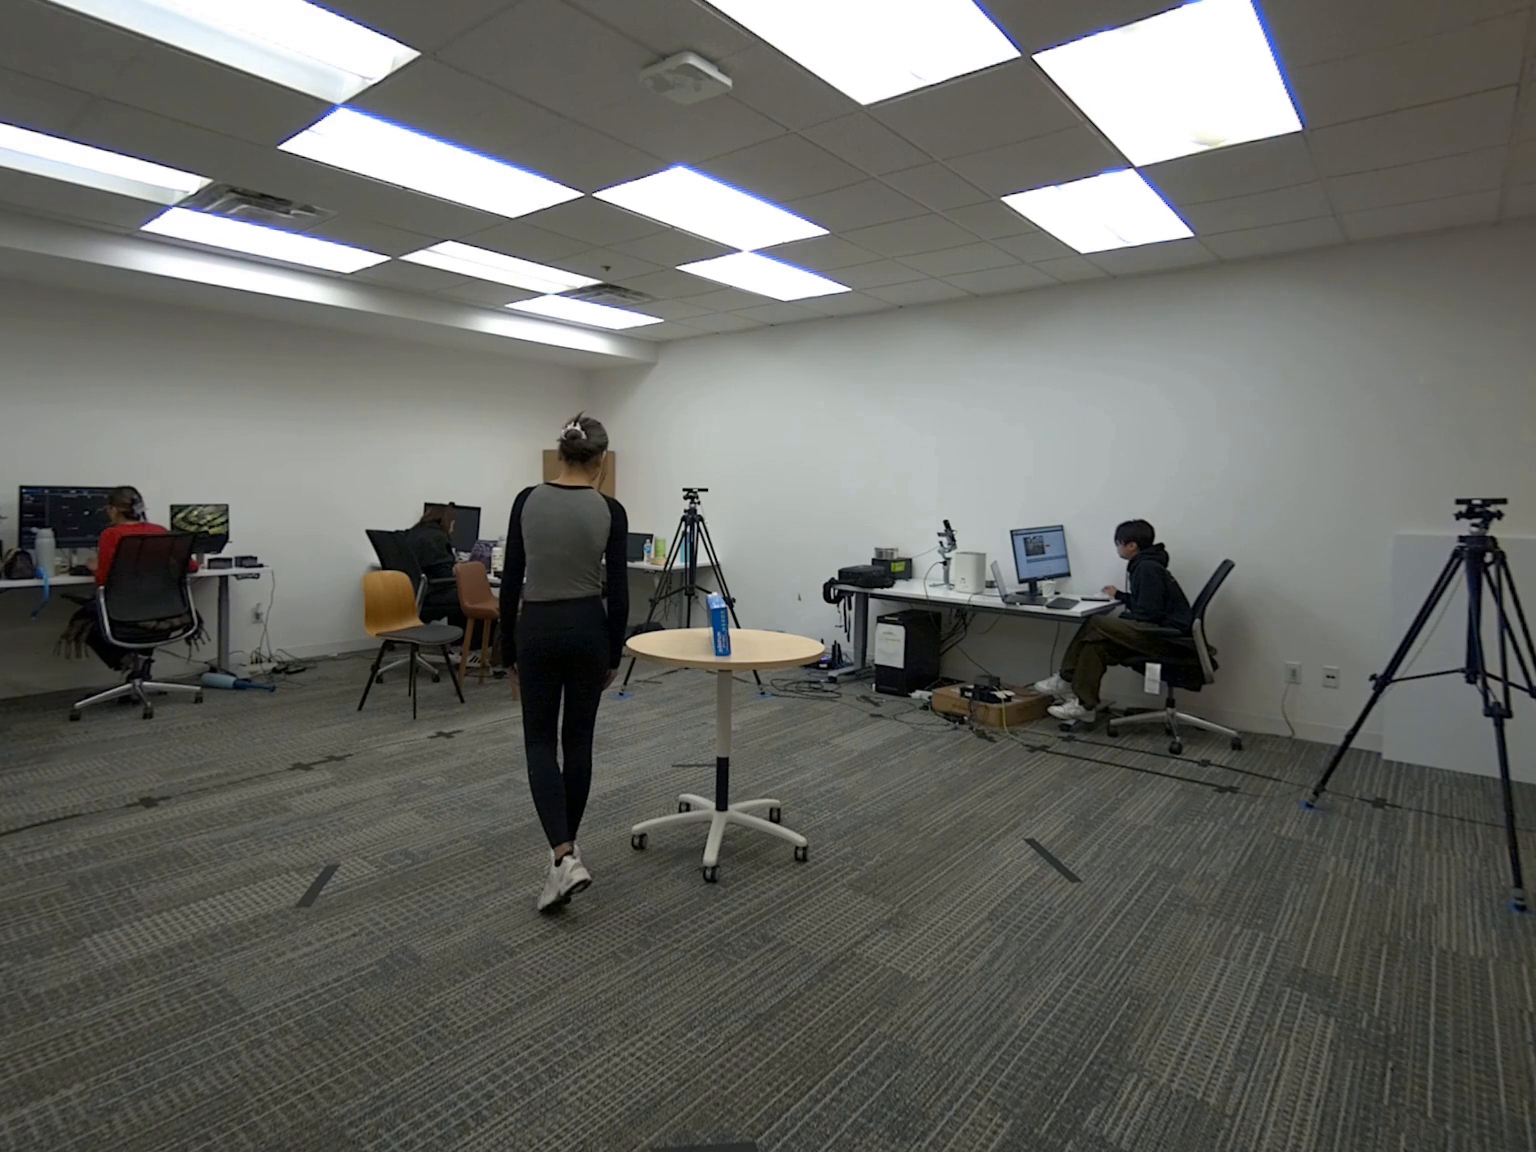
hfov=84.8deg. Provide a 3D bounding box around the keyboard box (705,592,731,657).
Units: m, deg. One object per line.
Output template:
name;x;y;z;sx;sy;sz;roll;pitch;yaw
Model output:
keyboard box;-0.205;0.169;3.238;0.059;0.175;0.441;-4;6;-7
